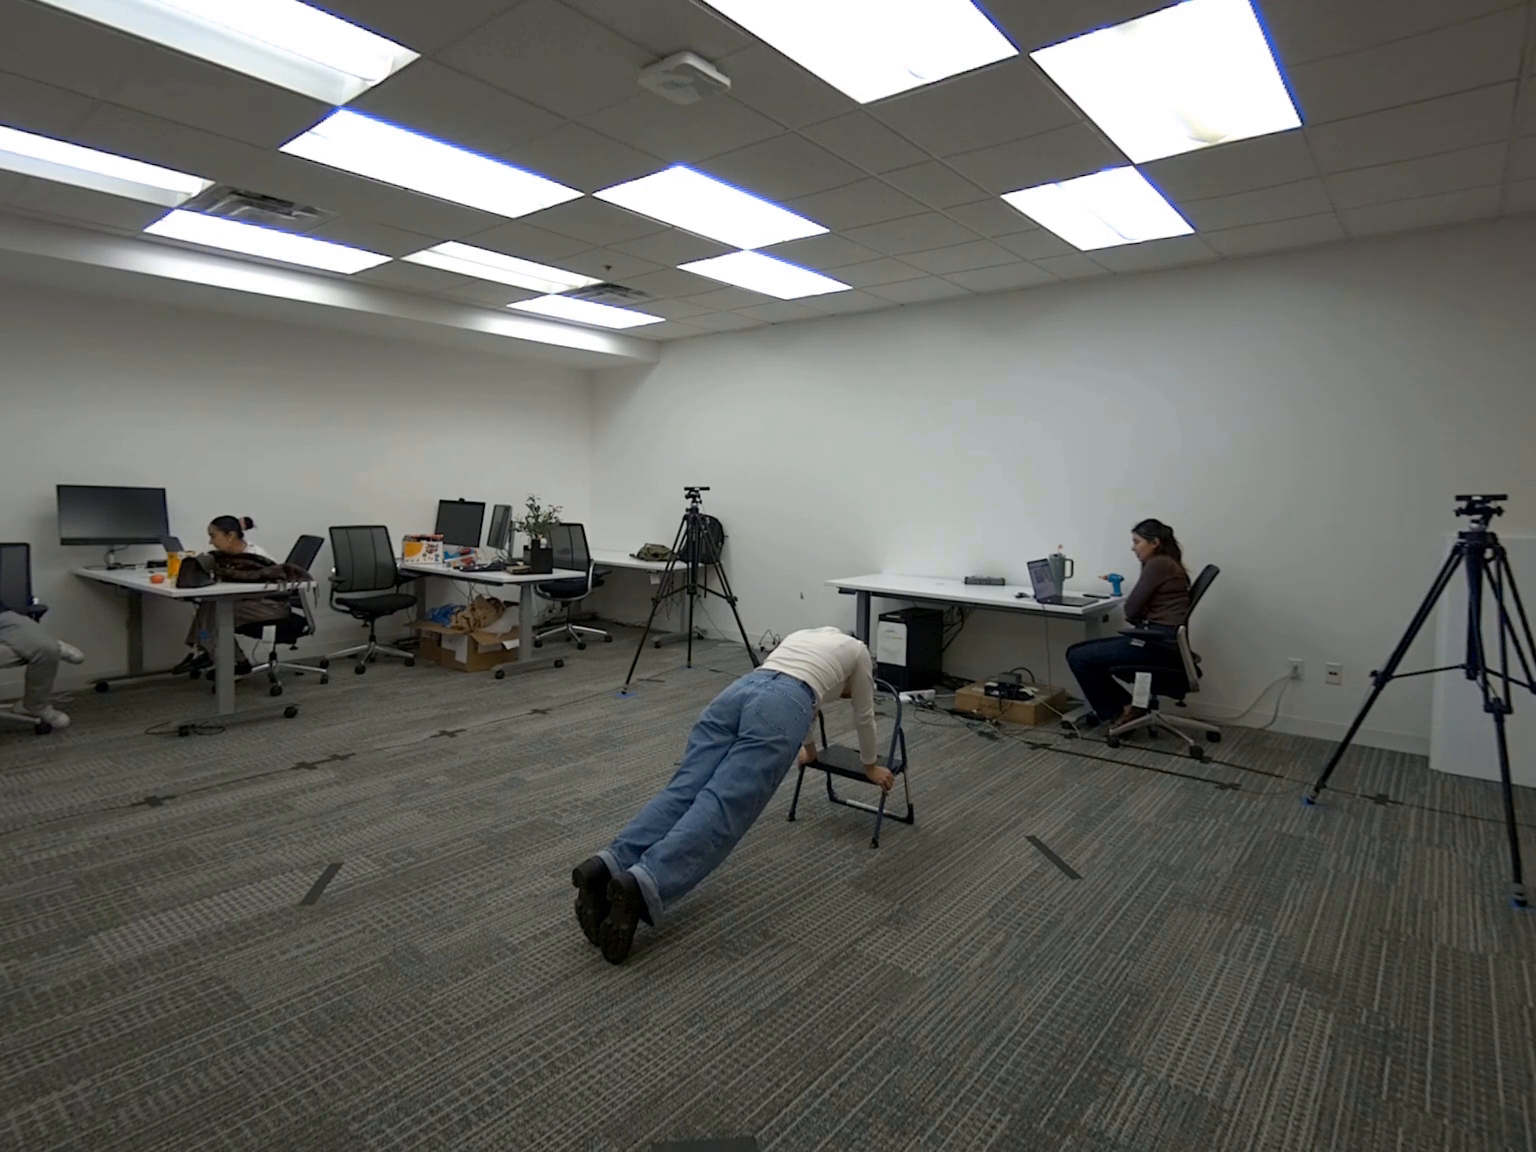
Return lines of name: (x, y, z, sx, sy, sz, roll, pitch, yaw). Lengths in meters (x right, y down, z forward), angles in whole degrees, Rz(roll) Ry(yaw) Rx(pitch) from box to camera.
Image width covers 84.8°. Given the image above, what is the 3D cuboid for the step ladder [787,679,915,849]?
step ladder: (0.351, 0.729, 3.562, 0.445, 0.604, 0.339, 4, 4, 38)
